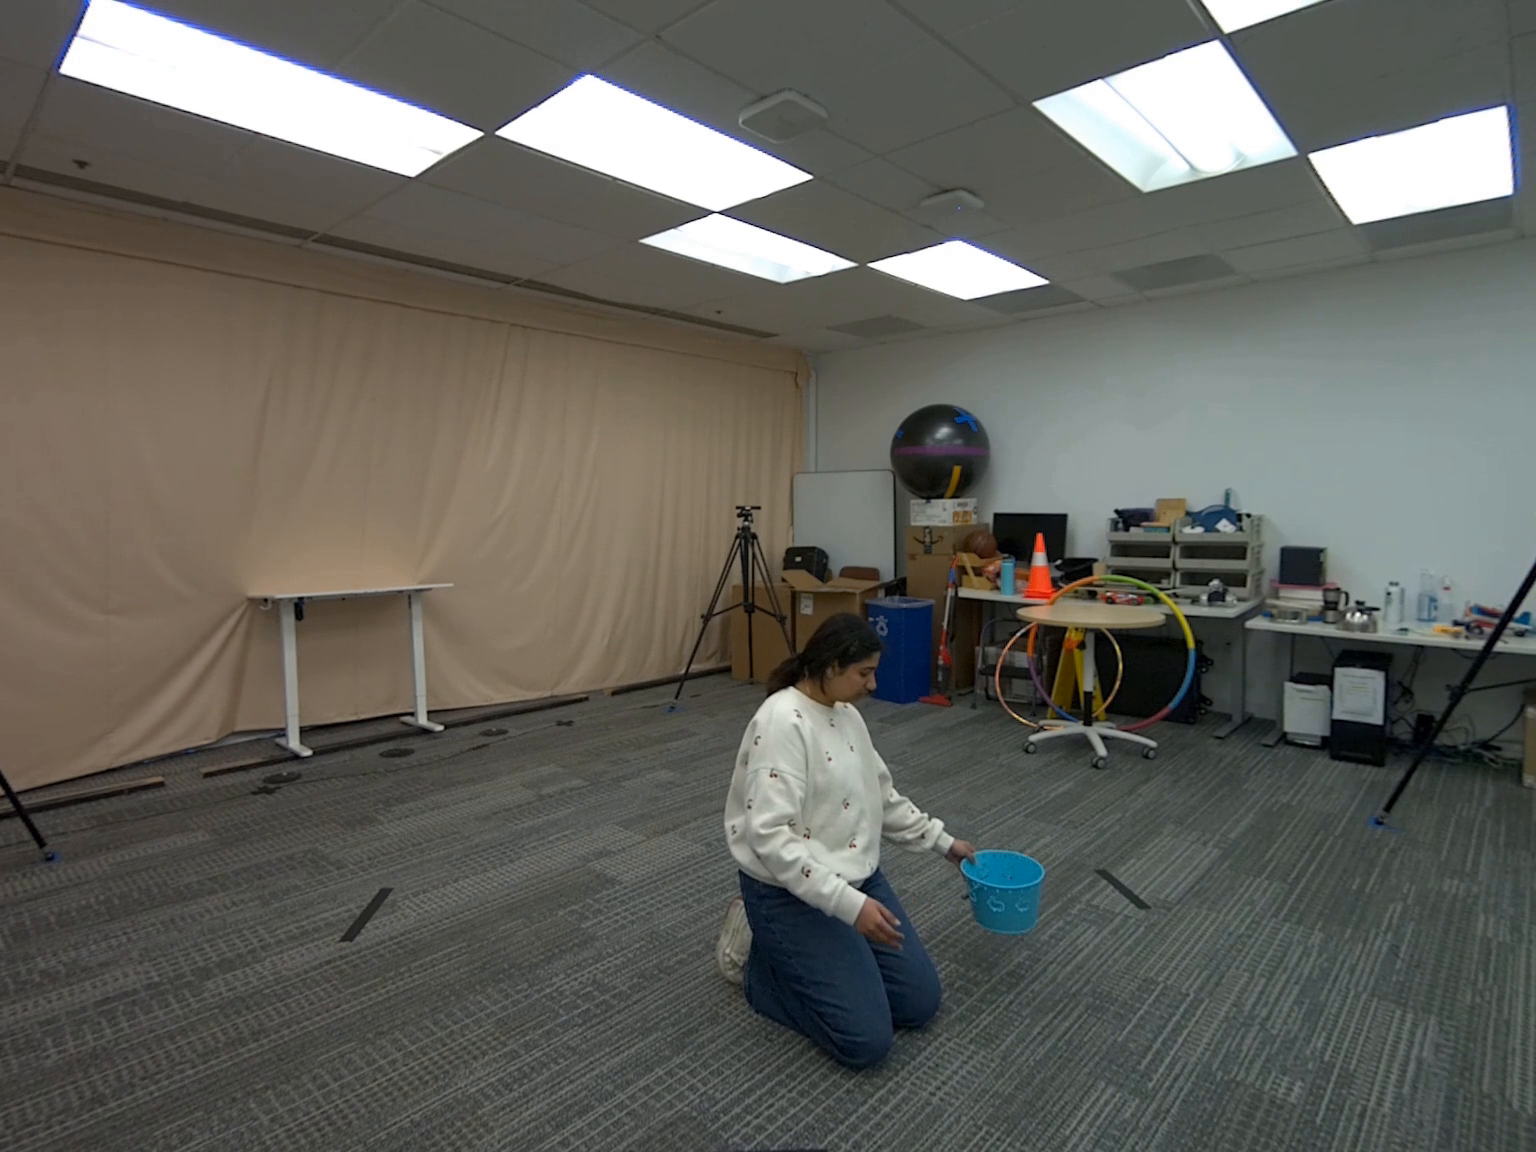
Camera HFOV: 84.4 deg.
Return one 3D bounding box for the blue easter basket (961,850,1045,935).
[{"bbox_3d":[0.699,0.939,2.465,0.243,0.155,0.244,-4,4,-2],"label":"blue easter basket"}]
